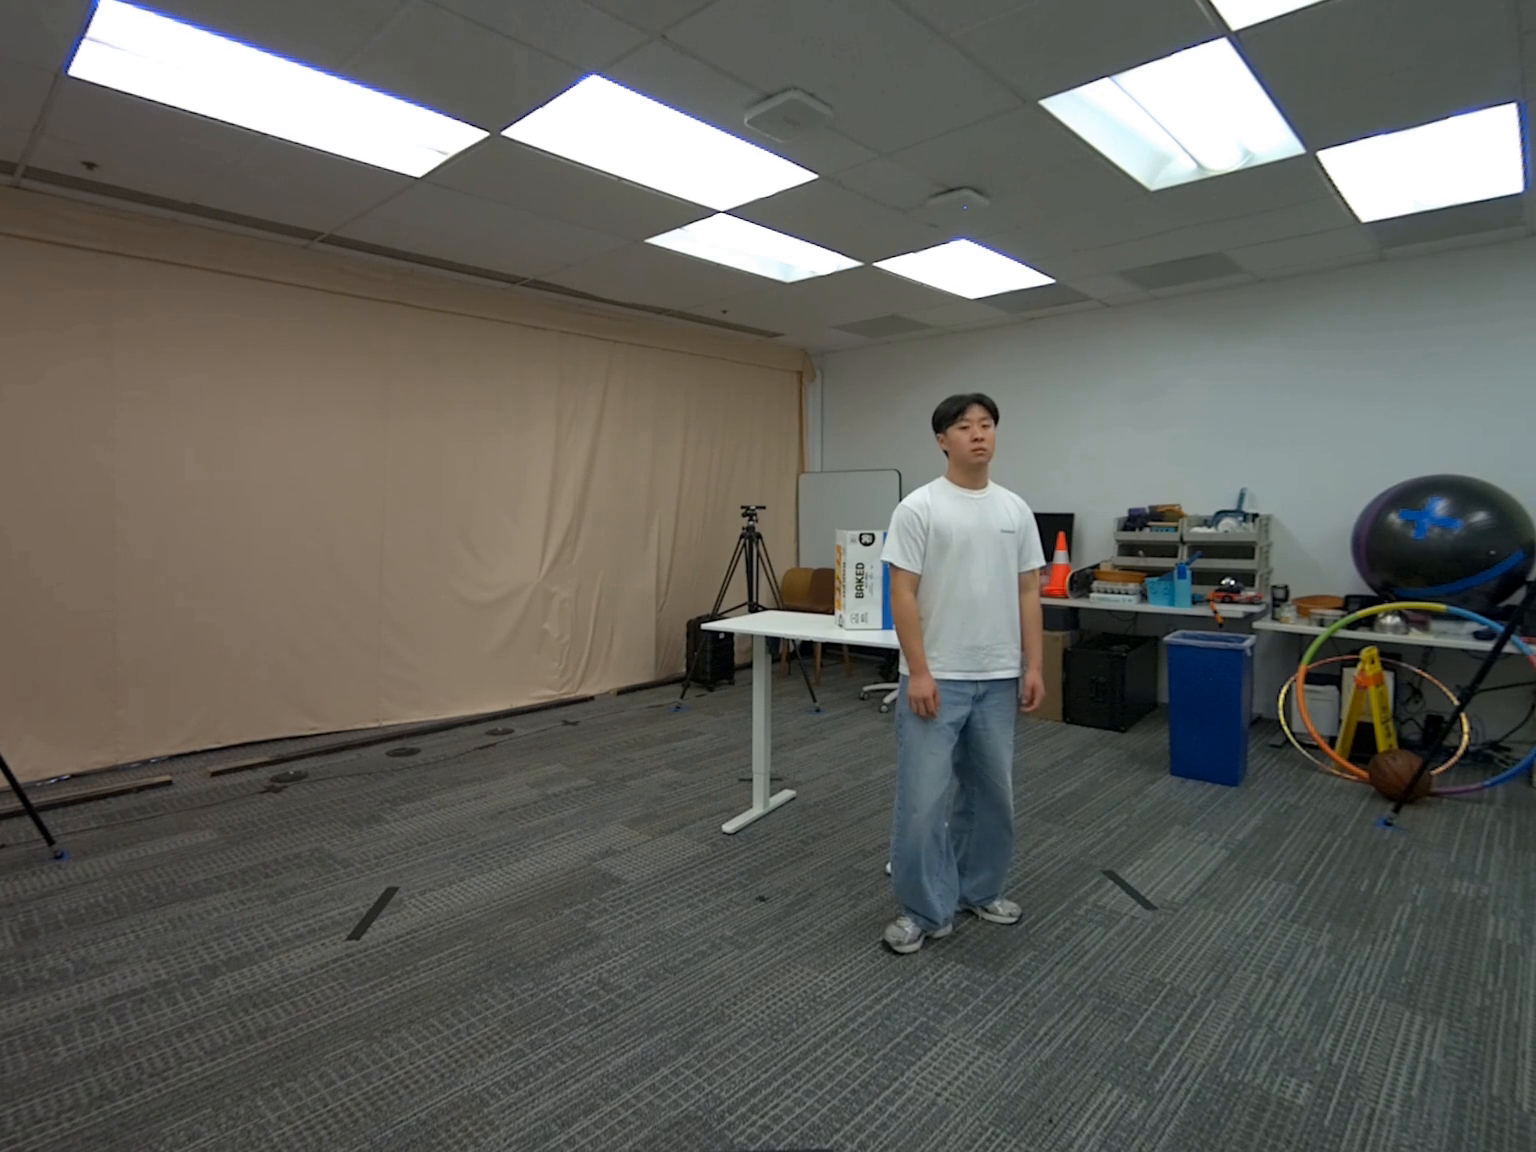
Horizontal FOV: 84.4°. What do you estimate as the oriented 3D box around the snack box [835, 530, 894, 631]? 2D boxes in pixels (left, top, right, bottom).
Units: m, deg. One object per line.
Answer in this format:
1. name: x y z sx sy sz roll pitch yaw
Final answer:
1. snack box: 0.474 0.009 3.551 0.338 0.404 0.207 -1 4 -6
